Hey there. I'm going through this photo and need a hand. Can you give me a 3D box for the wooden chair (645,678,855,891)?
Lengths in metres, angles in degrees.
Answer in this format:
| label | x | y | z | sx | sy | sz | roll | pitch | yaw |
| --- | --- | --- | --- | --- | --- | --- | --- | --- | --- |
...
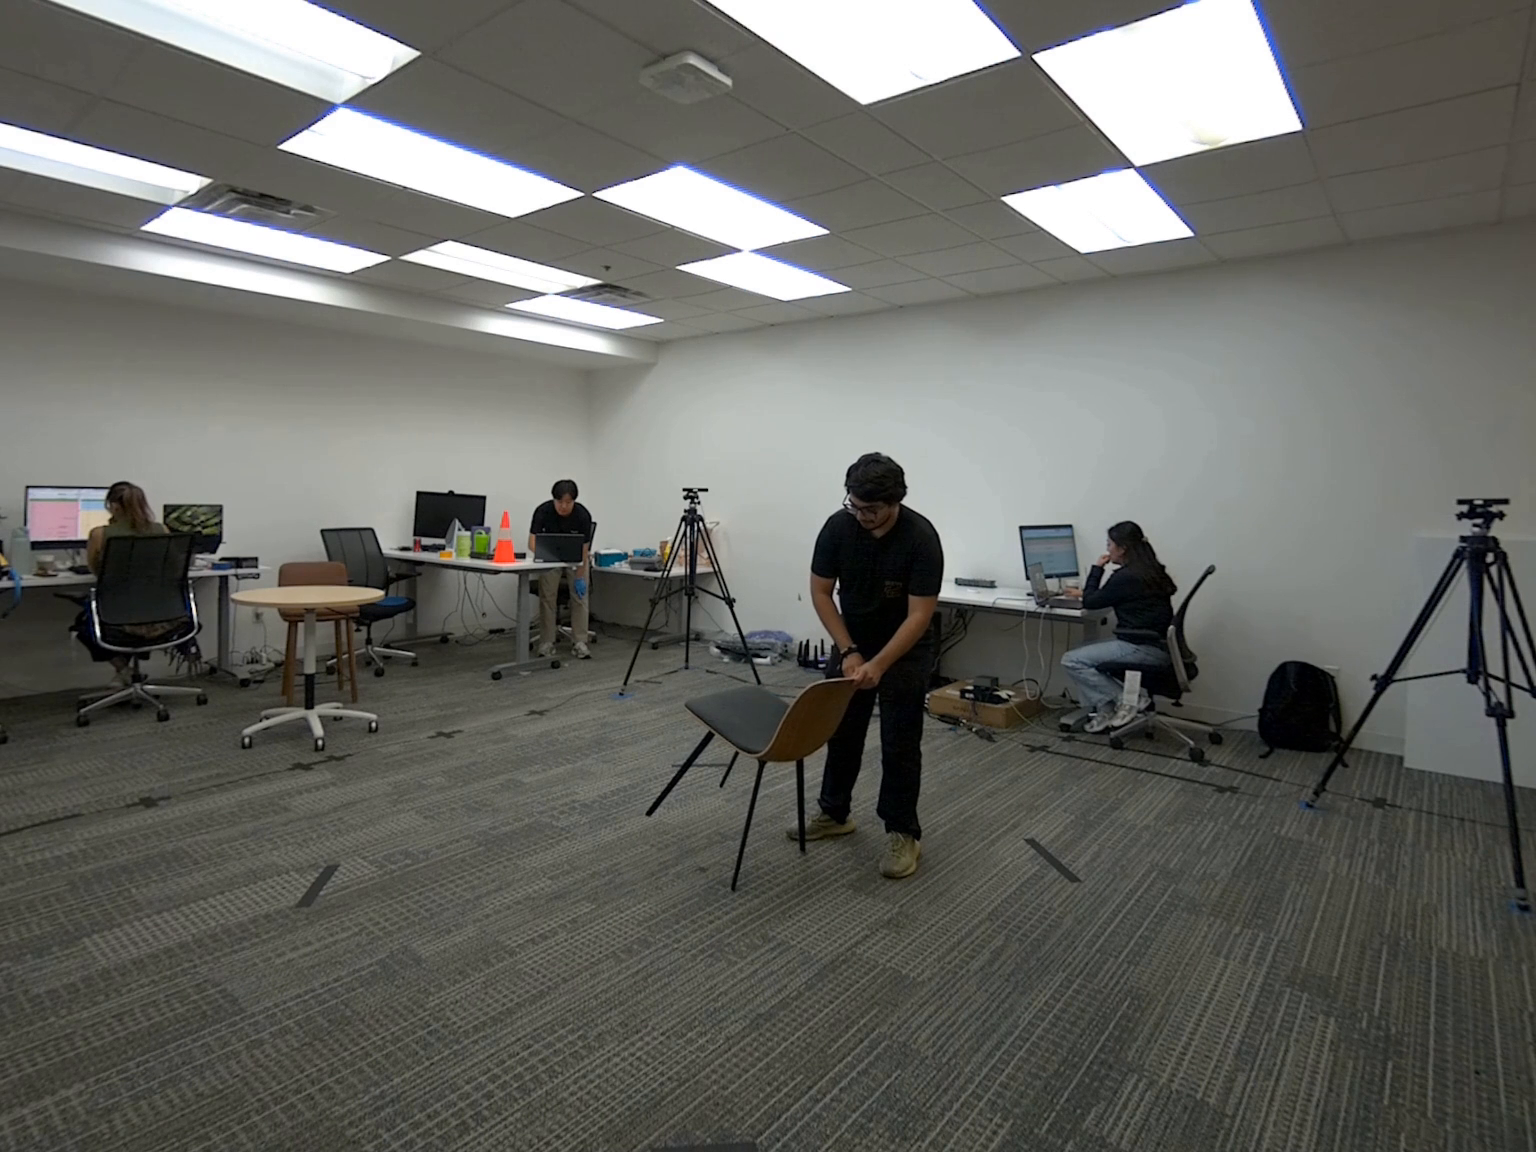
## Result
| label | x | y | z | sx | sy | sz | roll | pitch | yaw |
| --- | --- | --- | --- | --- | --- | --- | --- | --- | --- |
| wooden chair | -0.051 | 0.591 | 3.126 | 0.543 | 0.870 | 0.464 | 34 | 21 | 31 |
